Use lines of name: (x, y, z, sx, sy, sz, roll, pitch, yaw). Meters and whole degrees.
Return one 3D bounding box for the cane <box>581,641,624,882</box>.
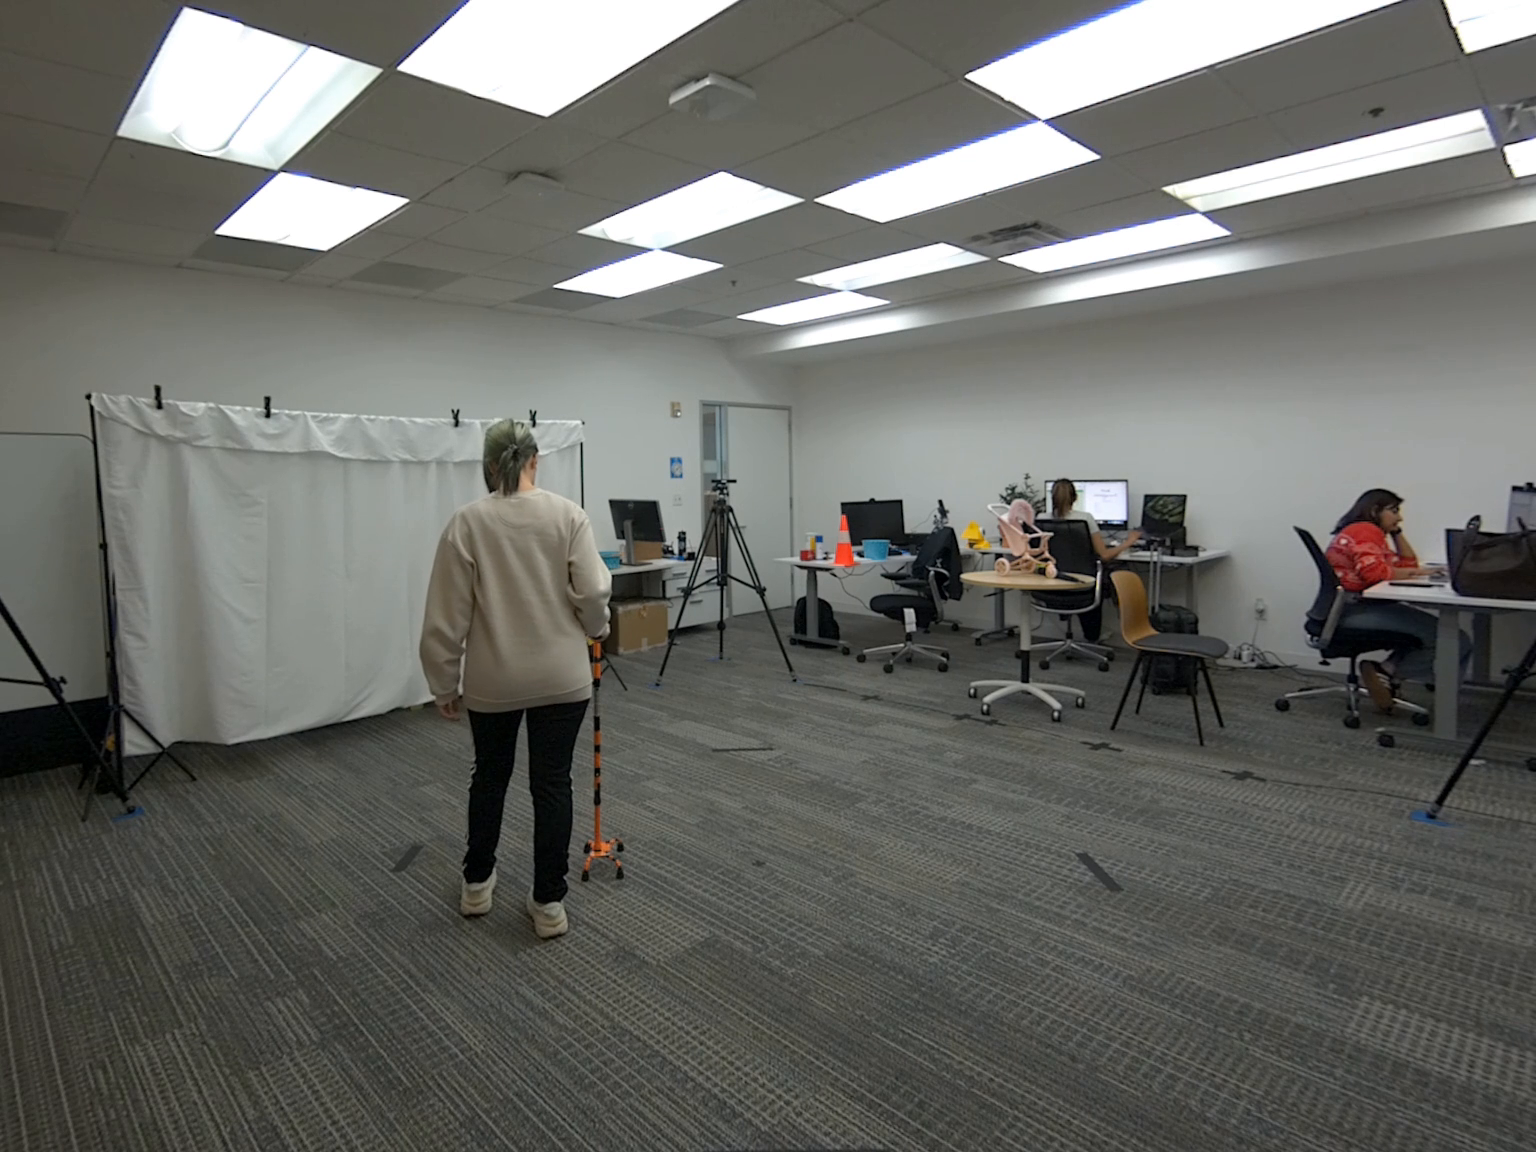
cane: (-0.587, 0.600, 3.021, 0.150, 0.900, 0.210, -1, 9, -10)
